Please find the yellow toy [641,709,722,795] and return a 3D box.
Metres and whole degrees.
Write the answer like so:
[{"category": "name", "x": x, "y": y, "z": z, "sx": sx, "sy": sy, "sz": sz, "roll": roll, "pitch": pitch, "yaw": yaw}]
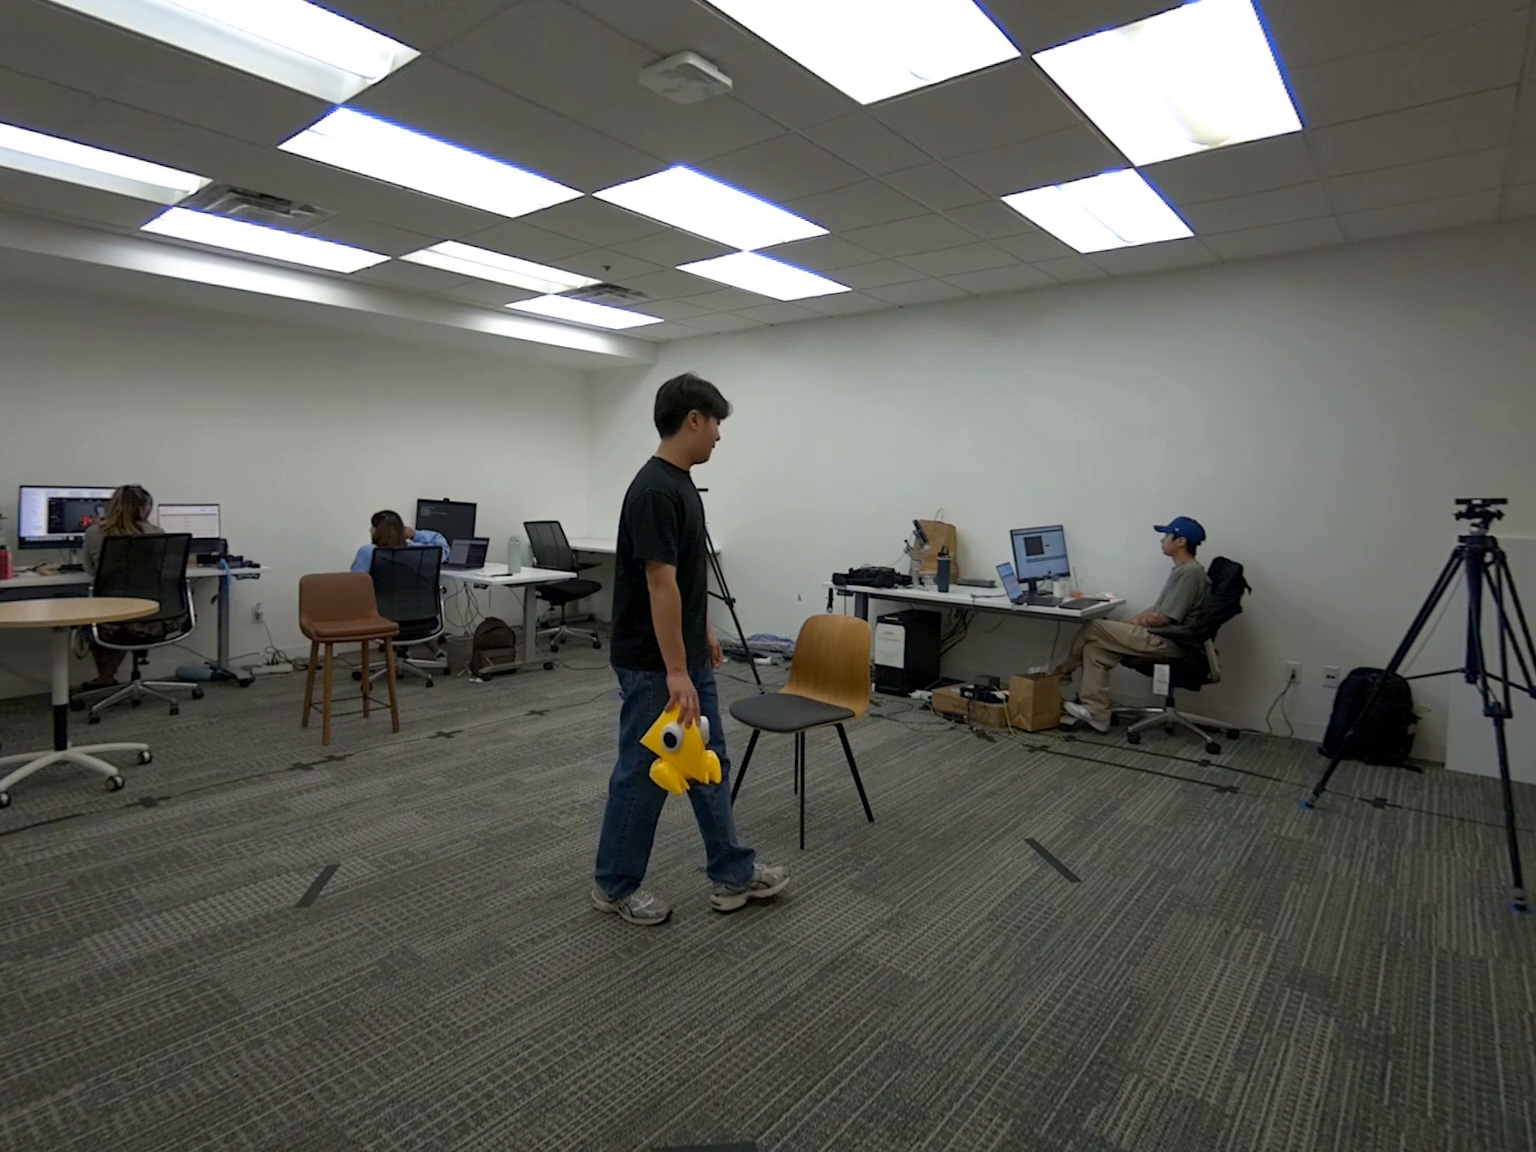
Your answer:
[{"category": "yellow toy", "x": -0.224, "y": 0.459, "z": 2.450, "sx": 0.199, "sy": 0.227, "sz": 0.201, "roll": -8, "pitch": 20, "yaw": -37}]
